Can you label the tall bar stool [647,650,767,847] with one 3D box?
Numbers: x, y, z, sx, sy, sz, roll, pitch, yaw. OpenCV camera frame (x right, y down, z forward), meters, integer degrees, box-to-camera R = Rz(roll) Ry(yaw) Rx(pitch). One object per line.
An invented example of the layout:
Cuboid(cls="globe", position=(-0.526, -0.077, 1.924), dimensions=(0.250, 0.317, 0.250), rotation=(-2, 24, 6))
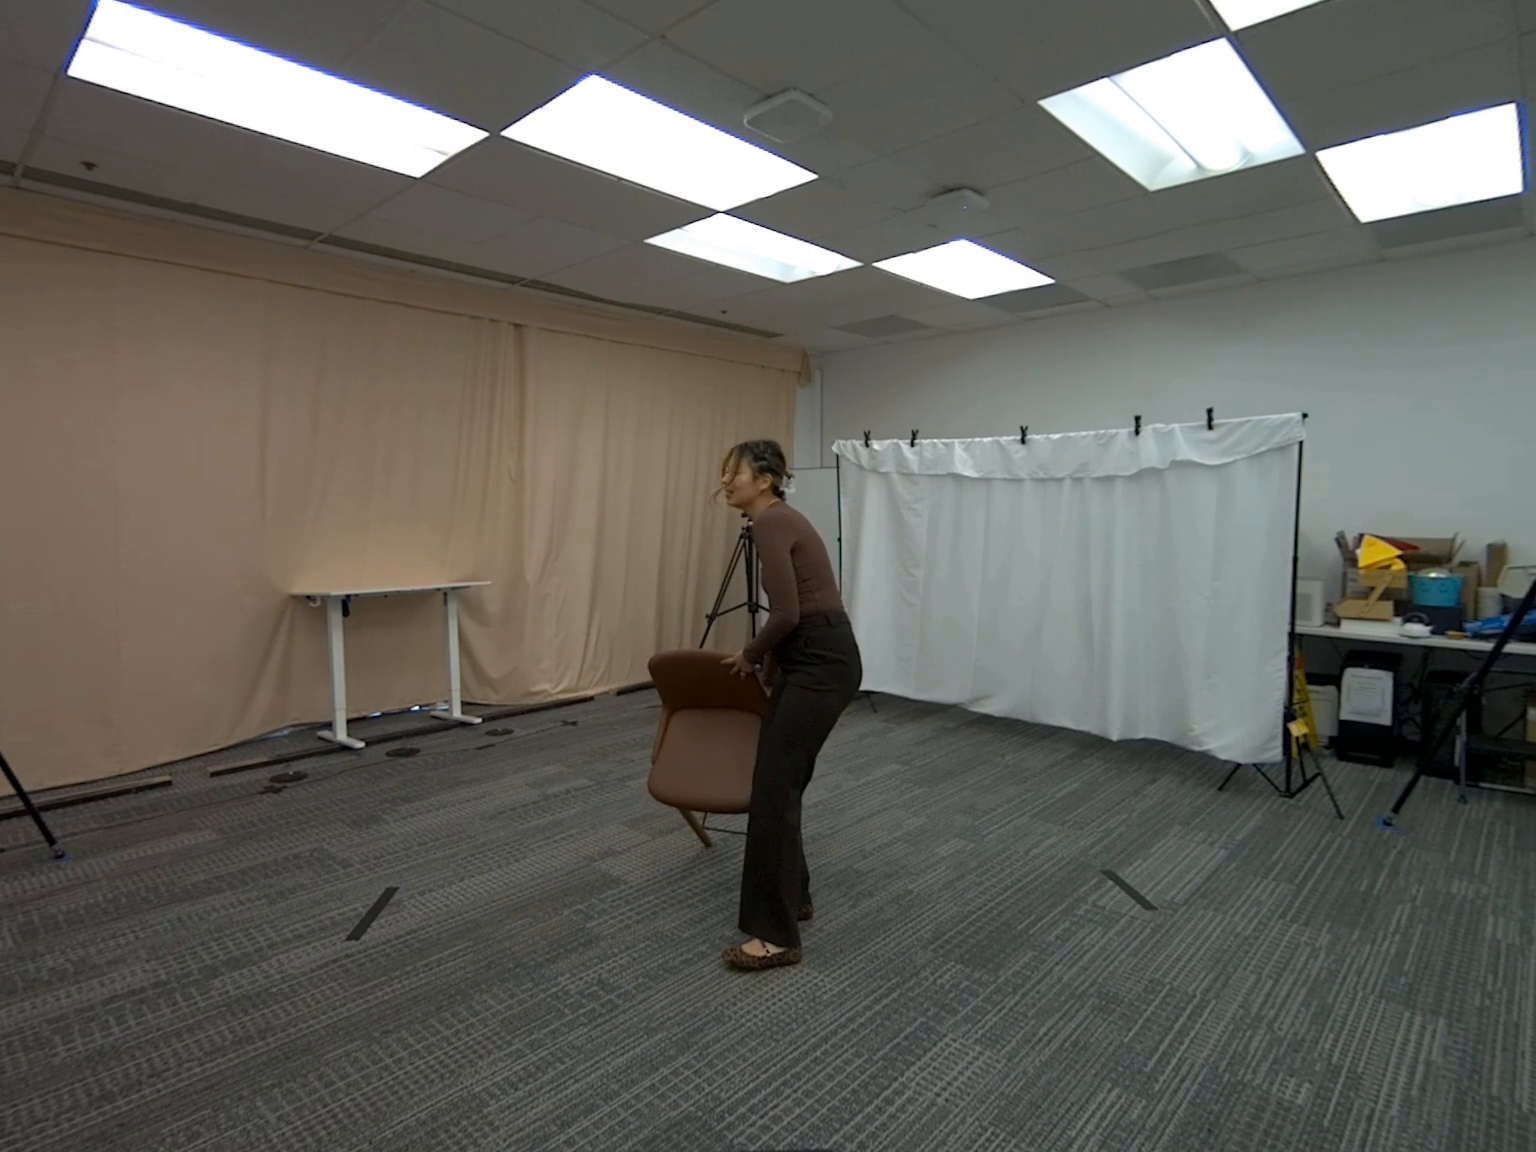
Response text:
Cuboid(cls="tall bar stool", position=(-0.158, 0.690, 3.150), dimensions=(0.467, 0.471, 0.862), rotation=(1, -34, 22))
